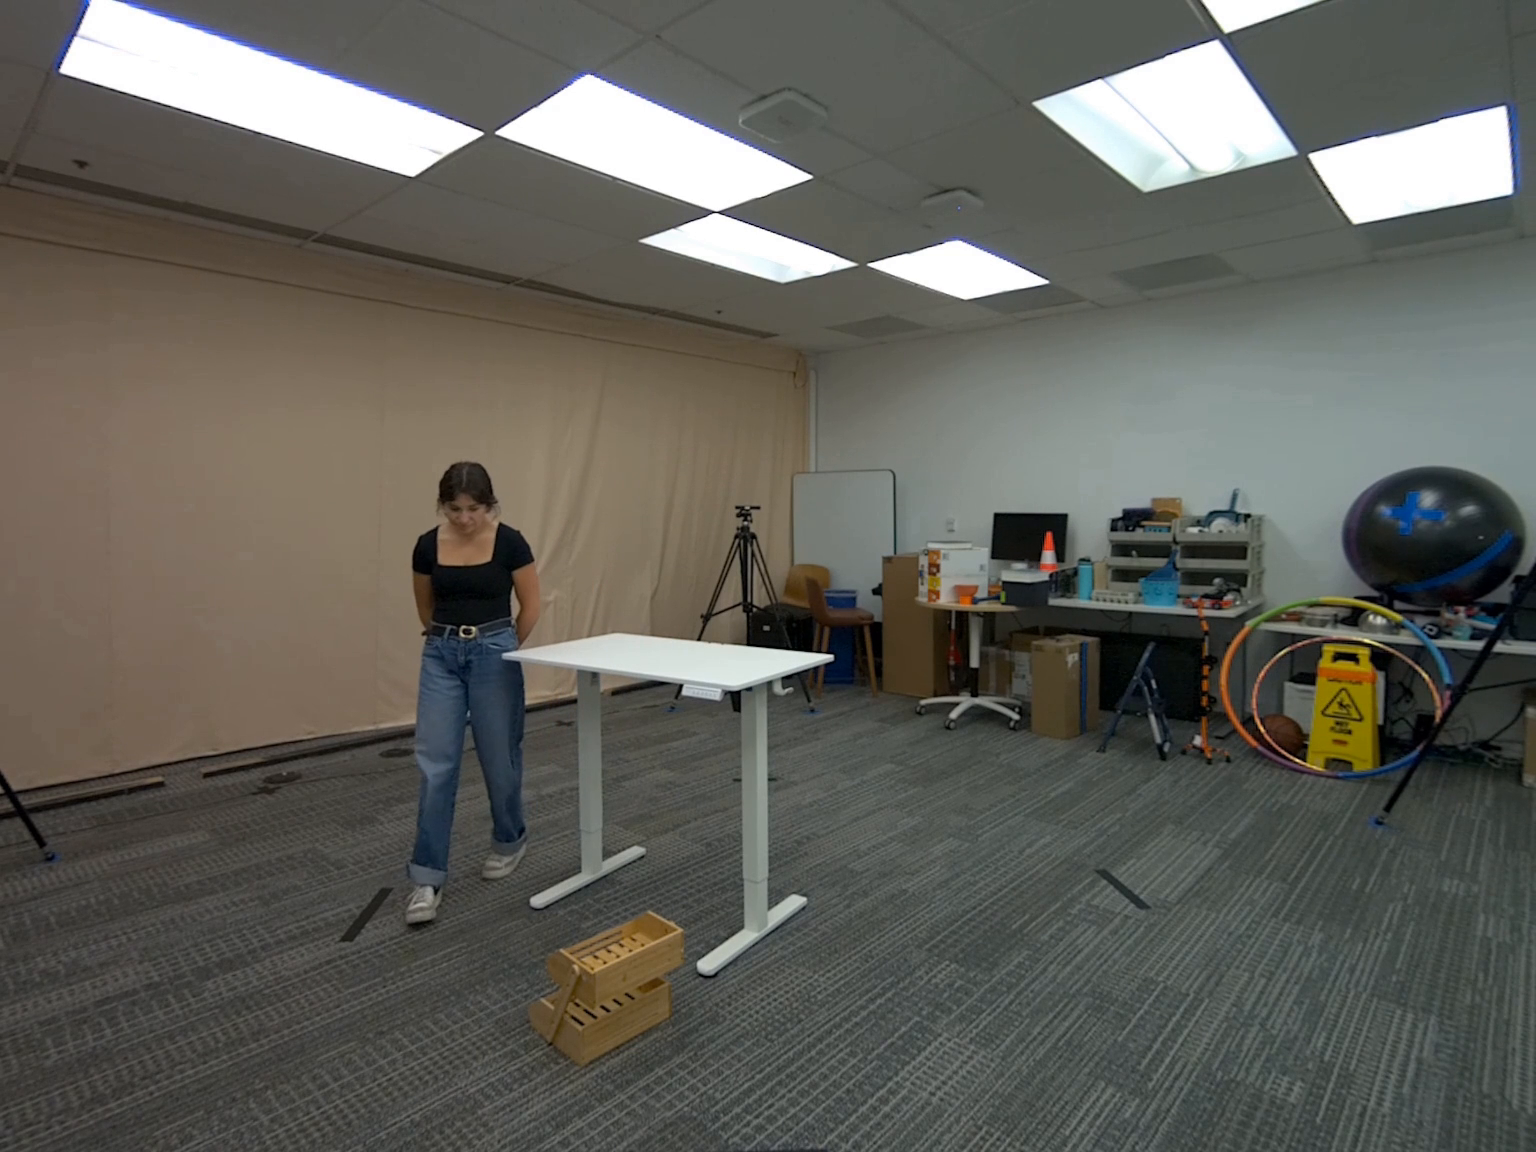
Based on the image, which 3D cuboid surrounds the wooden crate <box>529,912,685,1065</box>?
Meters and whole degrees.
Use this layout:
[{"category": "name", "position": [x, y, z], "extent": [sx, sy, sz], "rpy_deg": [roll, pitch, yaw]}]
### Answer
[{"category": "wooden crate", "position": [-0.437, 1.075, 2.256], "extent": [0.312, 0.273, 0.314], "rpy_deg": [5, 6, 44]}]
